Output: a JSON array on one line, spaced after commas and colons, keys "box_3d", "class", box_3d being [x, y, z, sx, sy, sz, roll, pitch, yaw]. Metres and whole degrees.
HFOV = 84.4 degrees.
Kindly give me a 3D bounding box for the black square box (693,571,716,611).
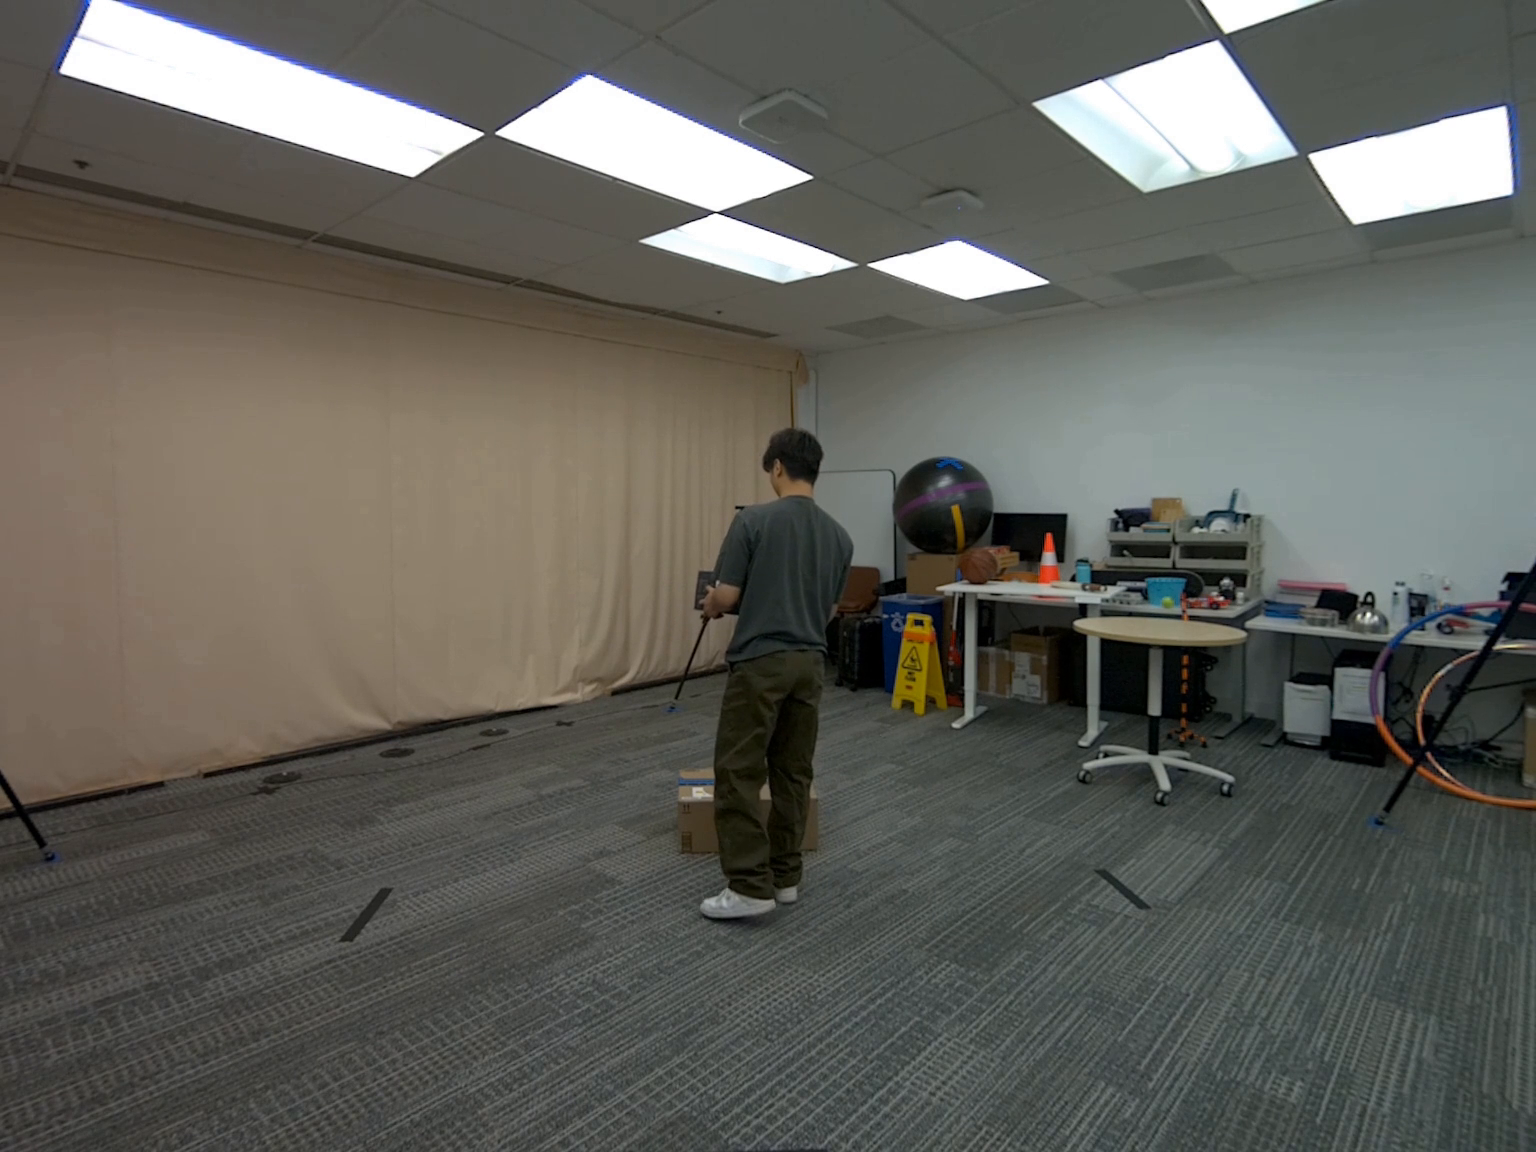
[{"box_3d": [-0.127, 0.073, 3.306, 0.221, 0.156, 0.223, 9, -4, -33], "class": "black square box"}]
